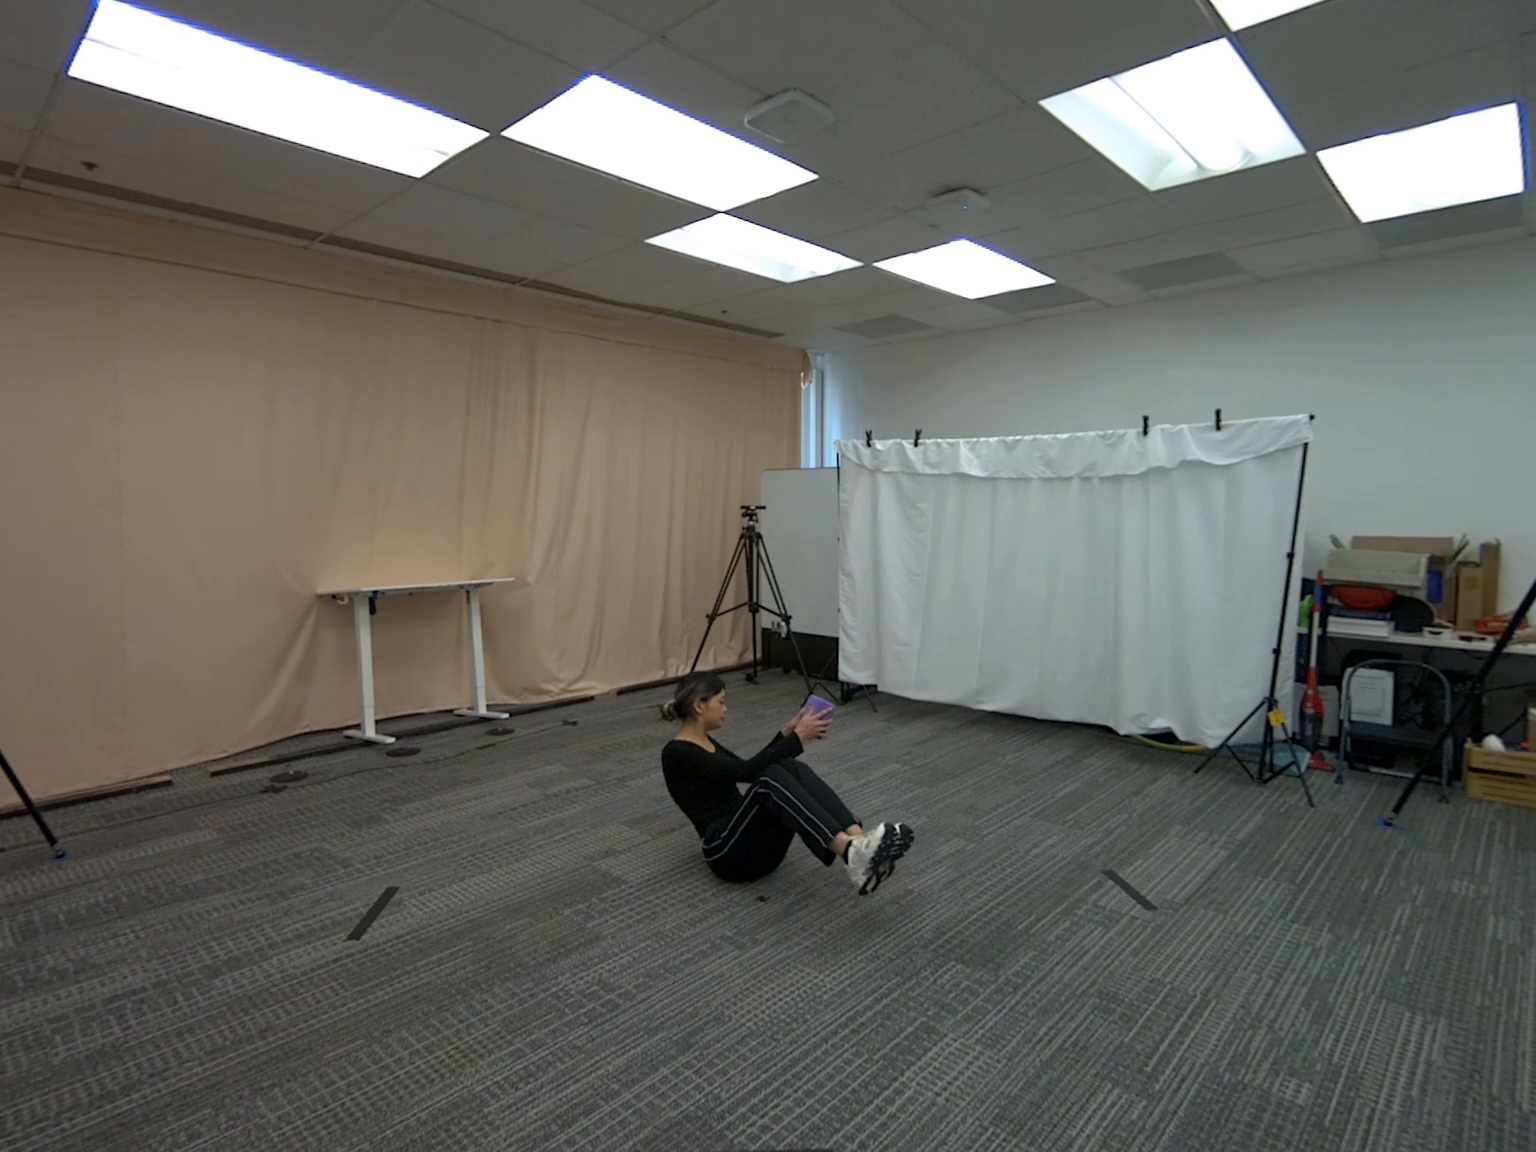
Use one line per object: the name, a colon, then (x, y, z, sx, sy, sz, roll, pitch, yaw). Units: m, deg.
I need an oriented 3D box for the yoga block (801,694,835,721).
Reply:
yoga block: (0.188, 0.583, 3.375, 0.076, 0.149, 0.229, 20, -5, -3)
